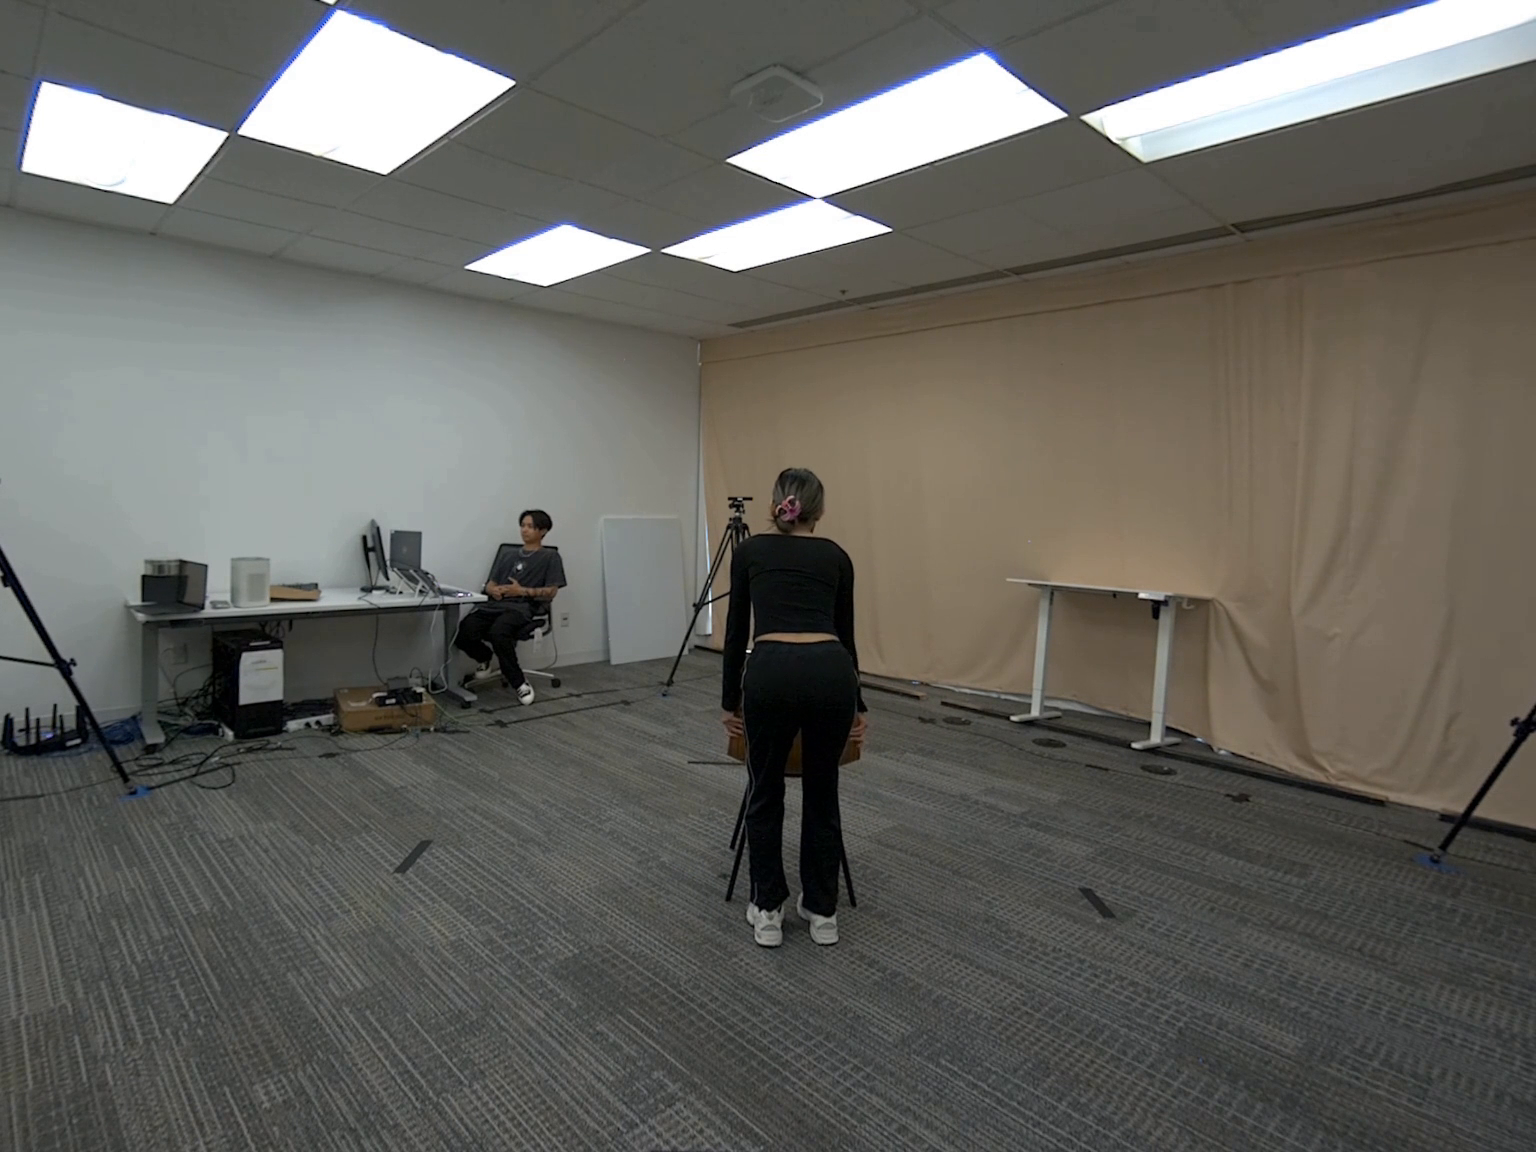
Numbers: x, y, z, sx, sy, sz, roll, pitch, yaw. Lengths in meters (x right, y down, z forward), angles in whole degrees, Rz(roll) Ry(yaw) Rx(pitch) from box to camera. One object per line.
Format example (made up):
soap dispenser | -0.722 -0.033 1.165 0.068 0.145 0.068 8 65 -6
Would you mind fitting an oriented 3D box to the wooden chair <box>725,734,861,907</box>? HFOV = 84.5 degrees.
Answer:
wooden chair | 0.080 0.686 3.101 0.478 0.872 0.526 1 8 0
